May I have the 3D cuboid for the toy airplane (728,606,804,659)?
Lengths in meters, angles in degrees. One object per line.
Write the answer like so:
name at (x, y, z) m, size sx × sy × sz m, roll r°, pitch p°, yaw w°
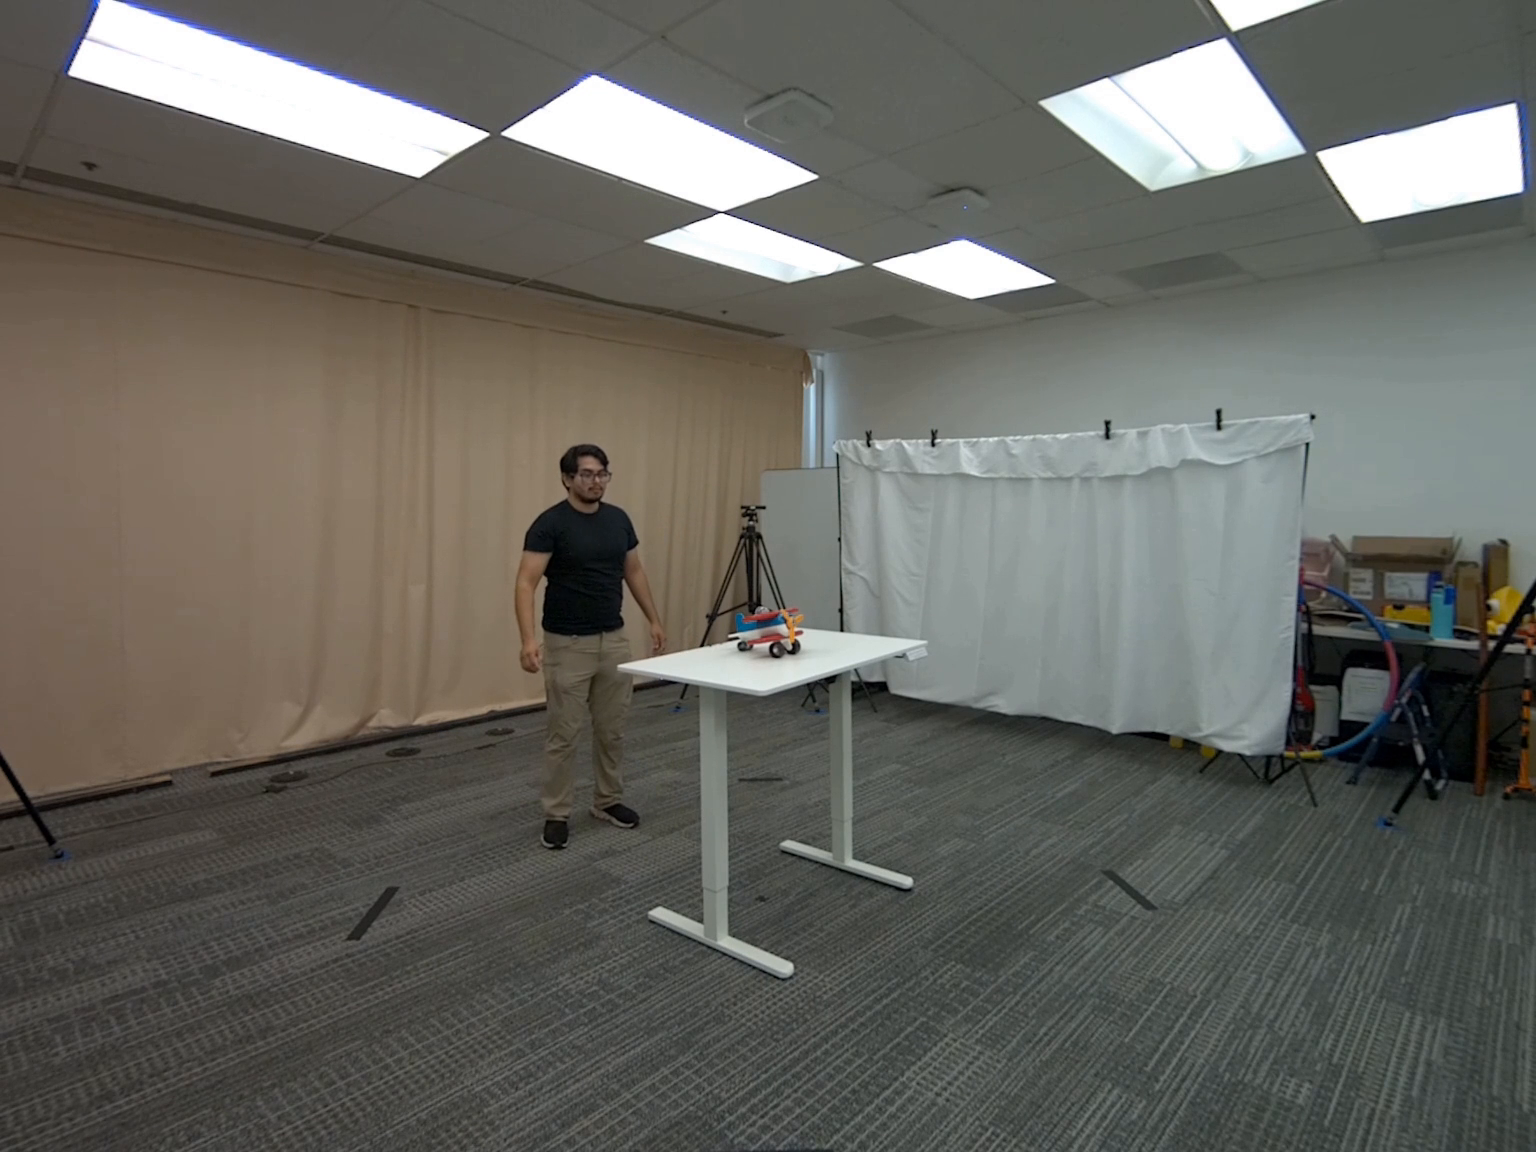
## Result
toy airplane at (-0.013, 0.192, 2.886) m, size 0.263 × 0.156 × 0.248 m, roll 1°, pitch 5°, yaw 13°
